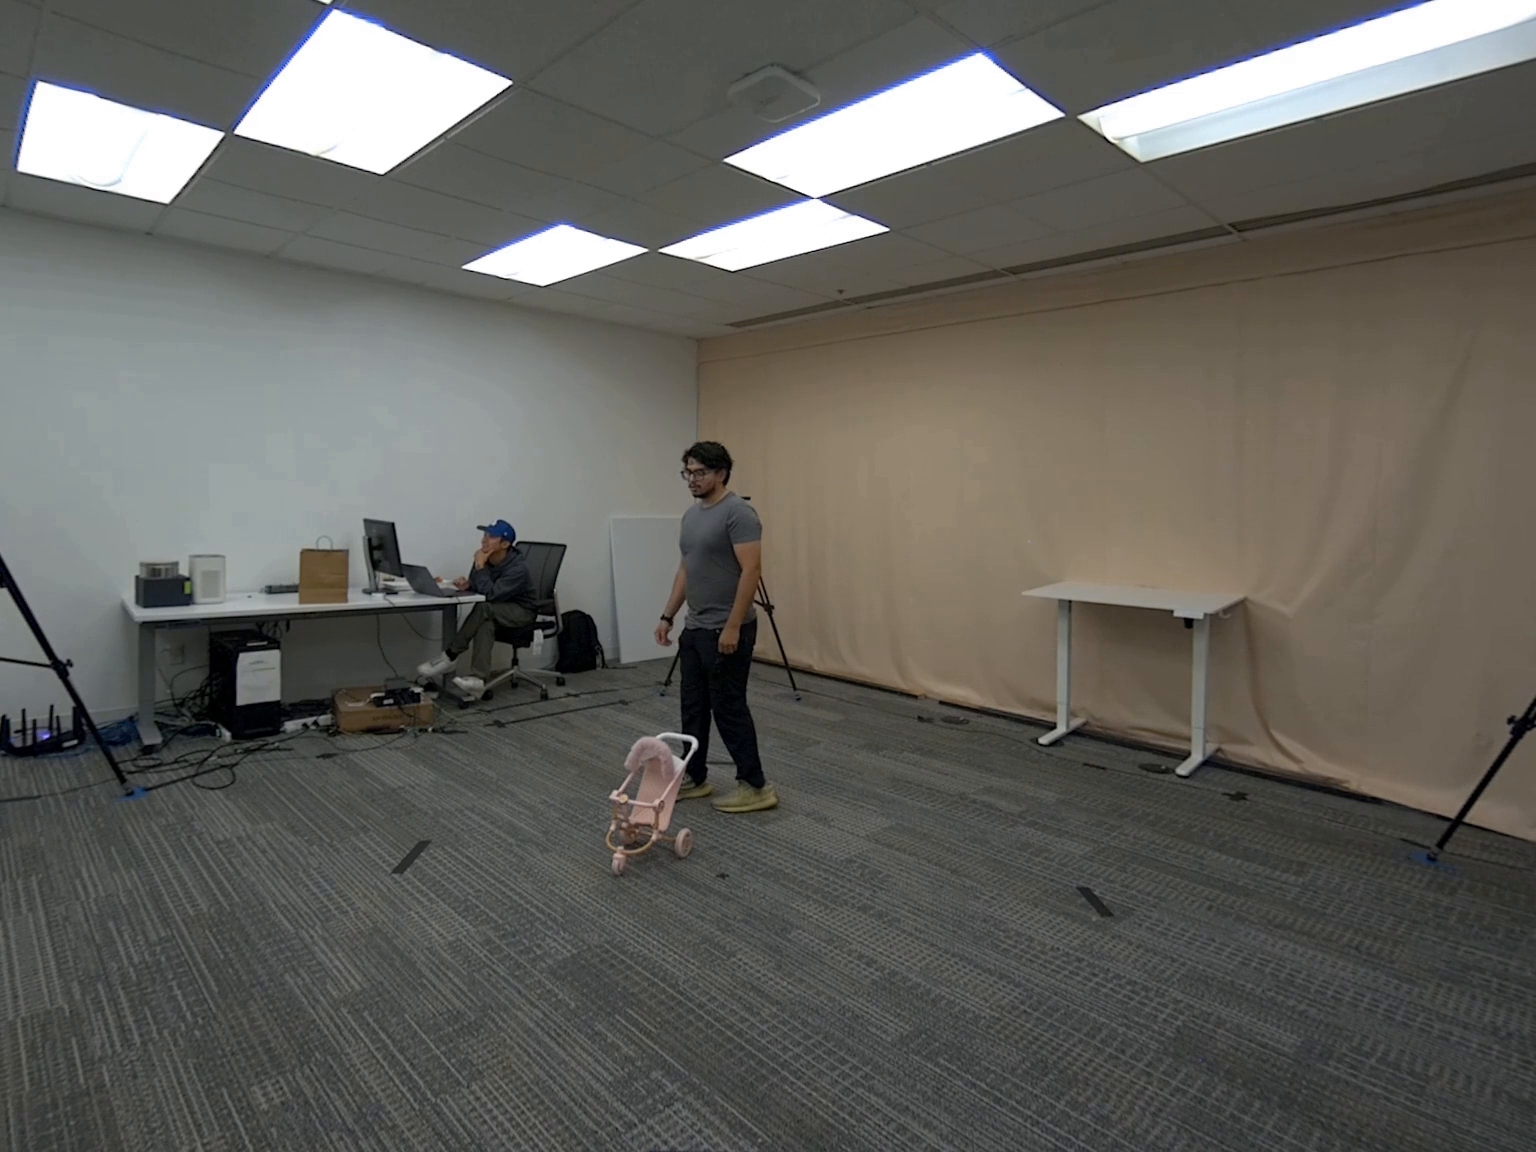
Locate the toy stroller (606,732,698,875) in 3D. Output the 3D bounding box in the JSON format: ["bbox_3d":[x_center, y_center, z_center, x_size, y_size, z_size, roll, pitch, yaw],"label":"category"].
[{"bbox_3d":[-0.478,0.870,3.251,0.288,0.539,0.331,3,-13,31],"label":"toy stroller"}]
